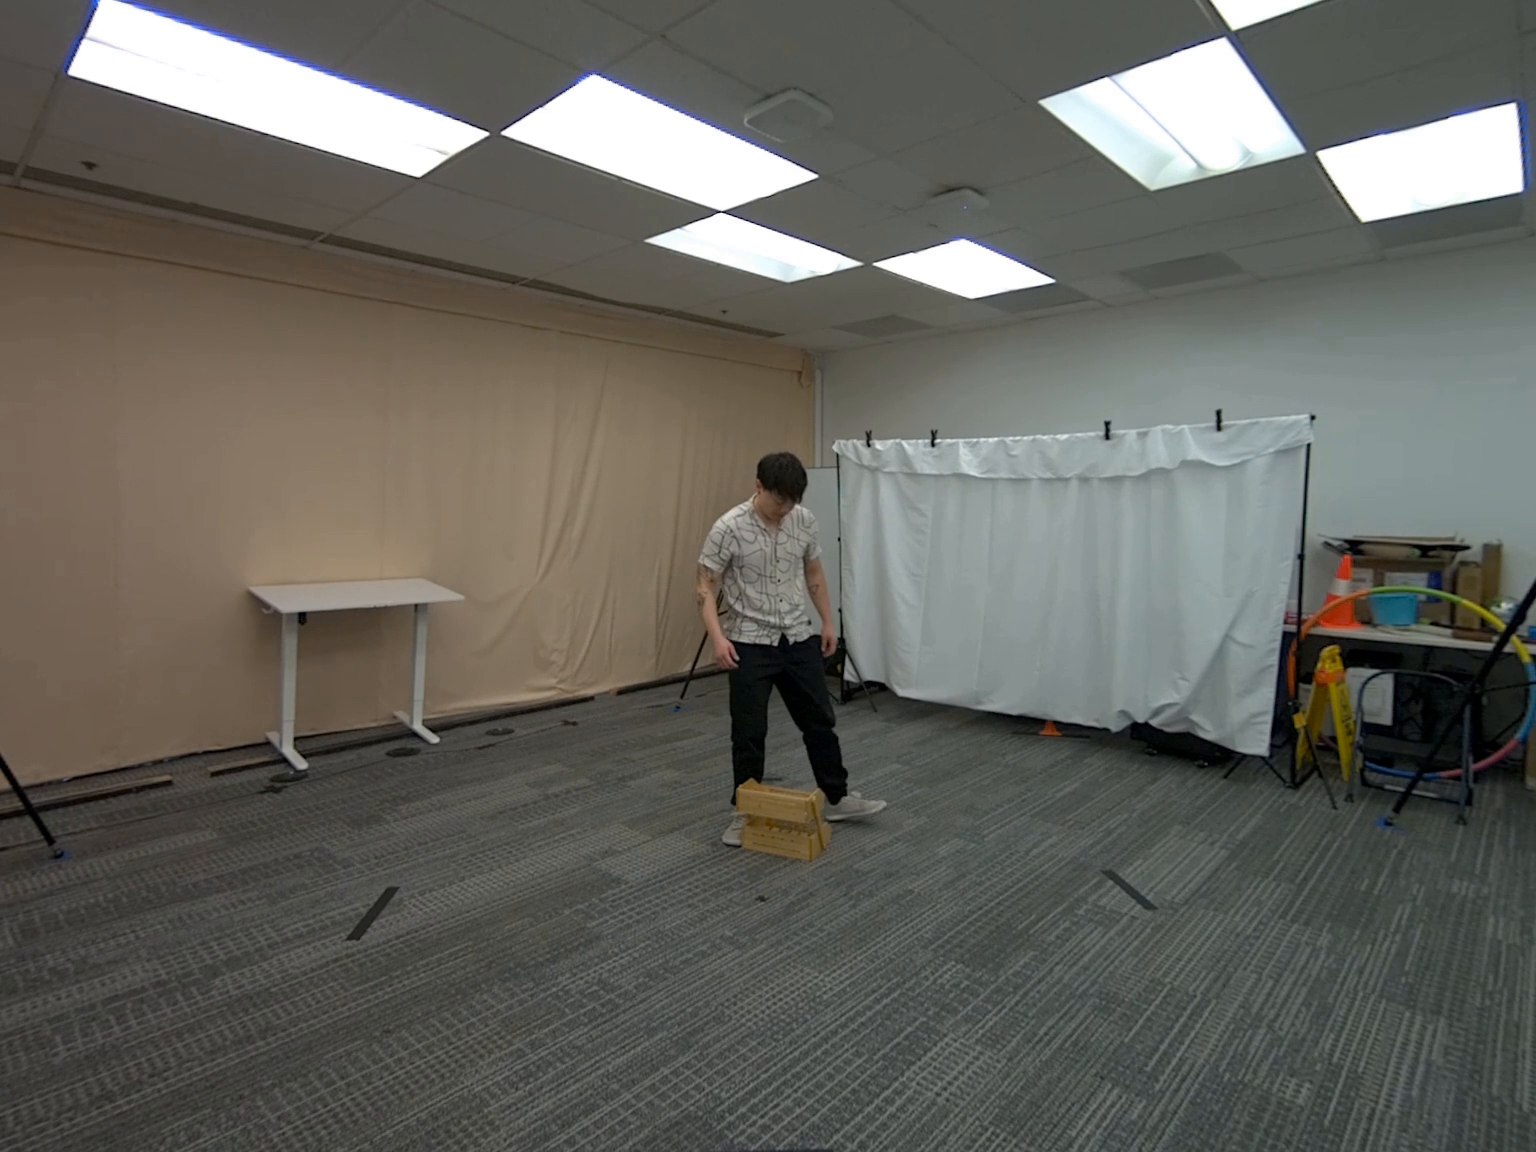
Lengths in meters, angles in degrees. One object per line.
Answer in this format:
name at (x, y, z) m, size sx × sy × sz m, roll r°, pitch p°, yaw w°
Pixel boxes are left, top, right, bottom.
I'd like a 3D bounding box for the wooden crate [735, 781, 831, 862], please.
wooden crate at (0.074, 0.972, 3.439) m, size 0.333 × 0.272 × 0.295 m, roll 2°, pitch 5°, yaw 24°
